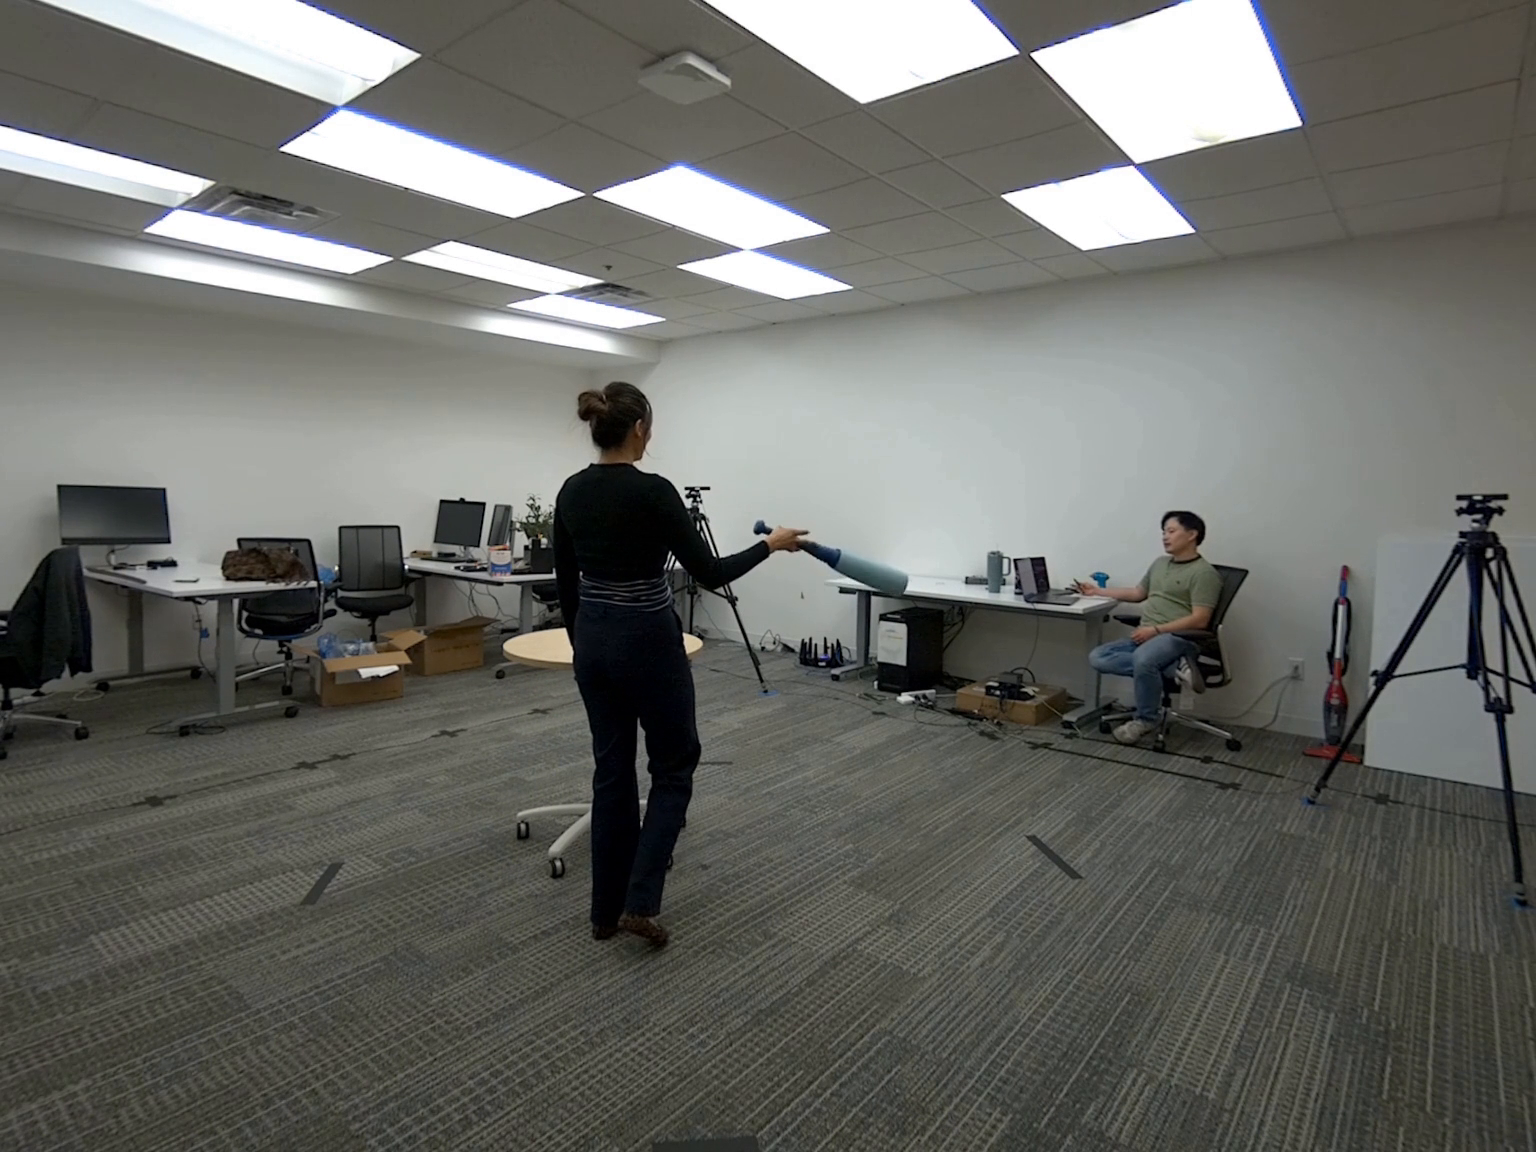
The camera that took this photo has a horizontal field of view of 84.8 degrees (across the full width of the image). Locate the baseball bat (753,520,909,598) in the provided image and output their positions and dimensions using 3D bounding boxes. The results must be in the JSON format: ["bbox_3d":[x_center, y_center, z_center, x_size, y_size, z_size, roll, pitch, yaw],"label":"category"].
[{"bbox_3d":[0.198,-0.052,2.765,0.537,0.089,0.090,22,1,-7],"label":"baseball bat"}]
